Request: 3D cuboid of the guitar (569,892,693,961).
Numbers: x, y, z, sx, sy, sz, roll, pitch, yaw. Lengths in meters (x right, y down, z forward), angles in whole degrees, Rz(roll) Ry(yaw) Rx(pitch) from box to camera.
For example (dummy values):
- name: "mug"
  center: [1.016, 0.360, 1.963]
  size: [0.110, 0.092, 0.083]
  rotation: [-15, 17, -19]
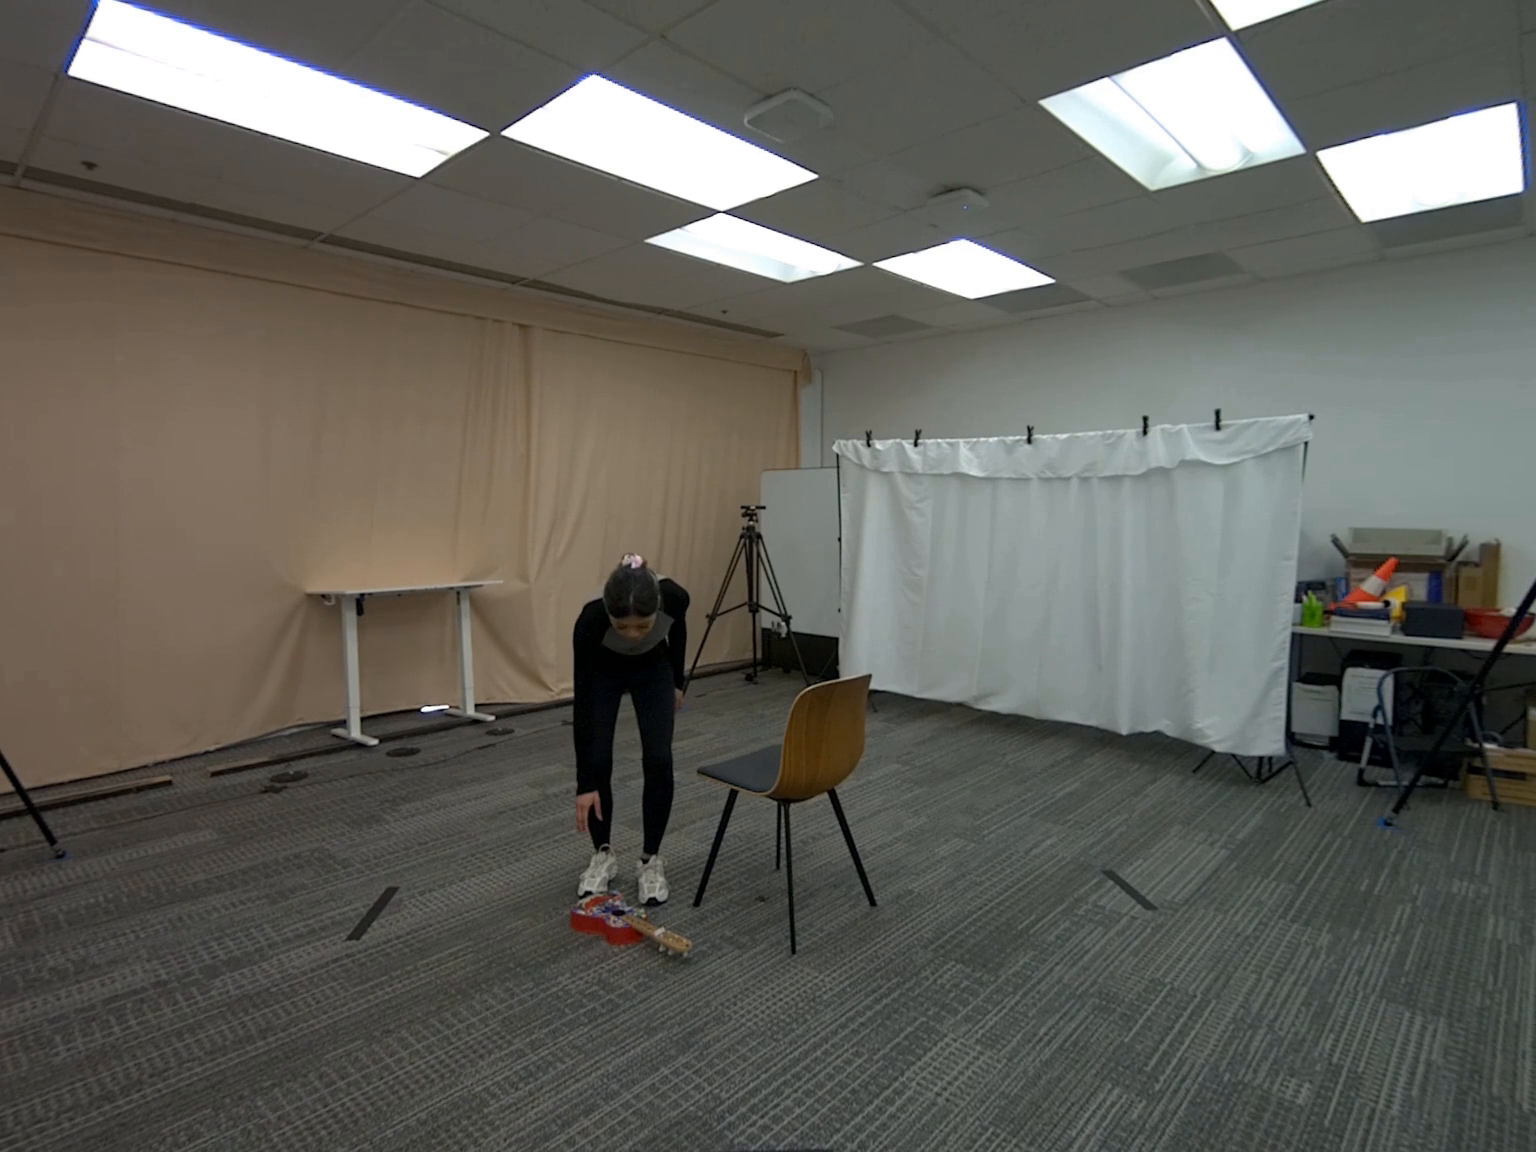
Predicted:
- name: "guitar"
  center: [-0.451, 1.133, 2.698]
  size: [0.187, 0.070, 0.514]
  rotation: [-4, 6, -40]
